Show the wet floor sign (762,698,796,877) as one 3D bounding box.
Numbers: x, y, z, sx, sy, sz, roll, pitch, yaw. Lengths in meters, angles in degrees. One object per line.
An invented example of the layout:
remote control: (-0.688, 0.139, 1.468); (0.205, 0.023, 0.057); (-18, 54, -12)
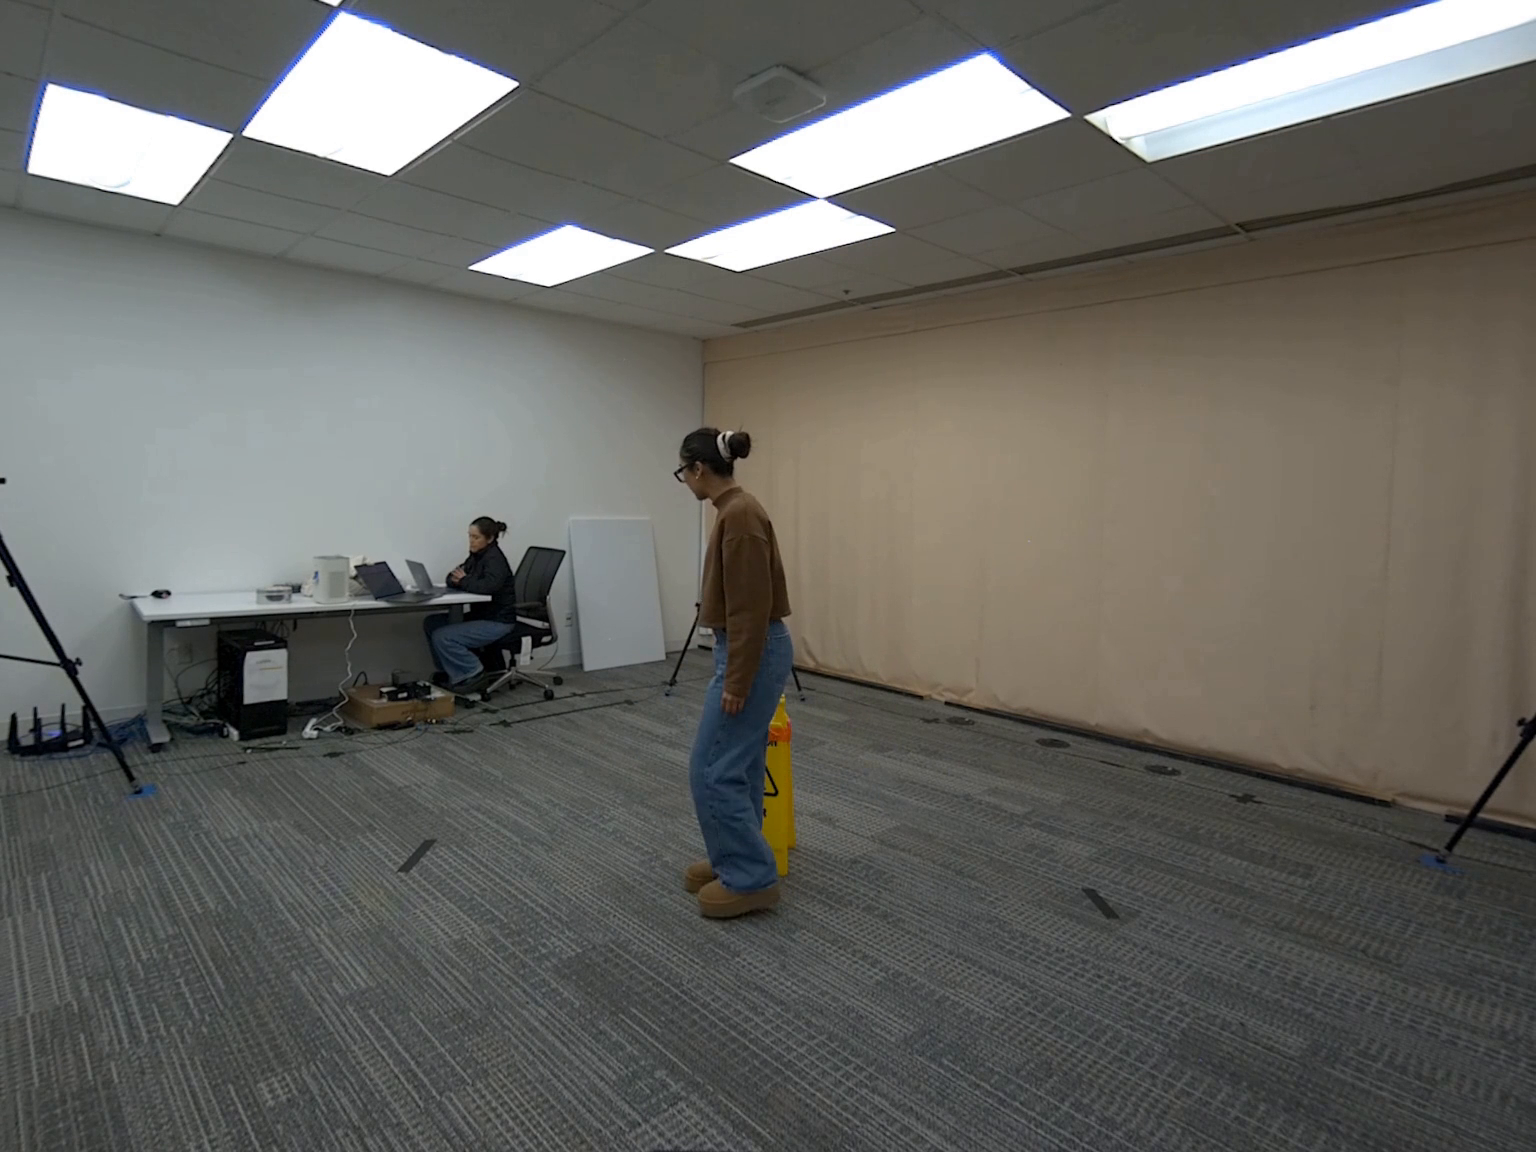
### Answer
wet floor sign: (-0.047, 0.778, 3.259); (0.284, 0.645, 0.288); (4, 3, 9)
